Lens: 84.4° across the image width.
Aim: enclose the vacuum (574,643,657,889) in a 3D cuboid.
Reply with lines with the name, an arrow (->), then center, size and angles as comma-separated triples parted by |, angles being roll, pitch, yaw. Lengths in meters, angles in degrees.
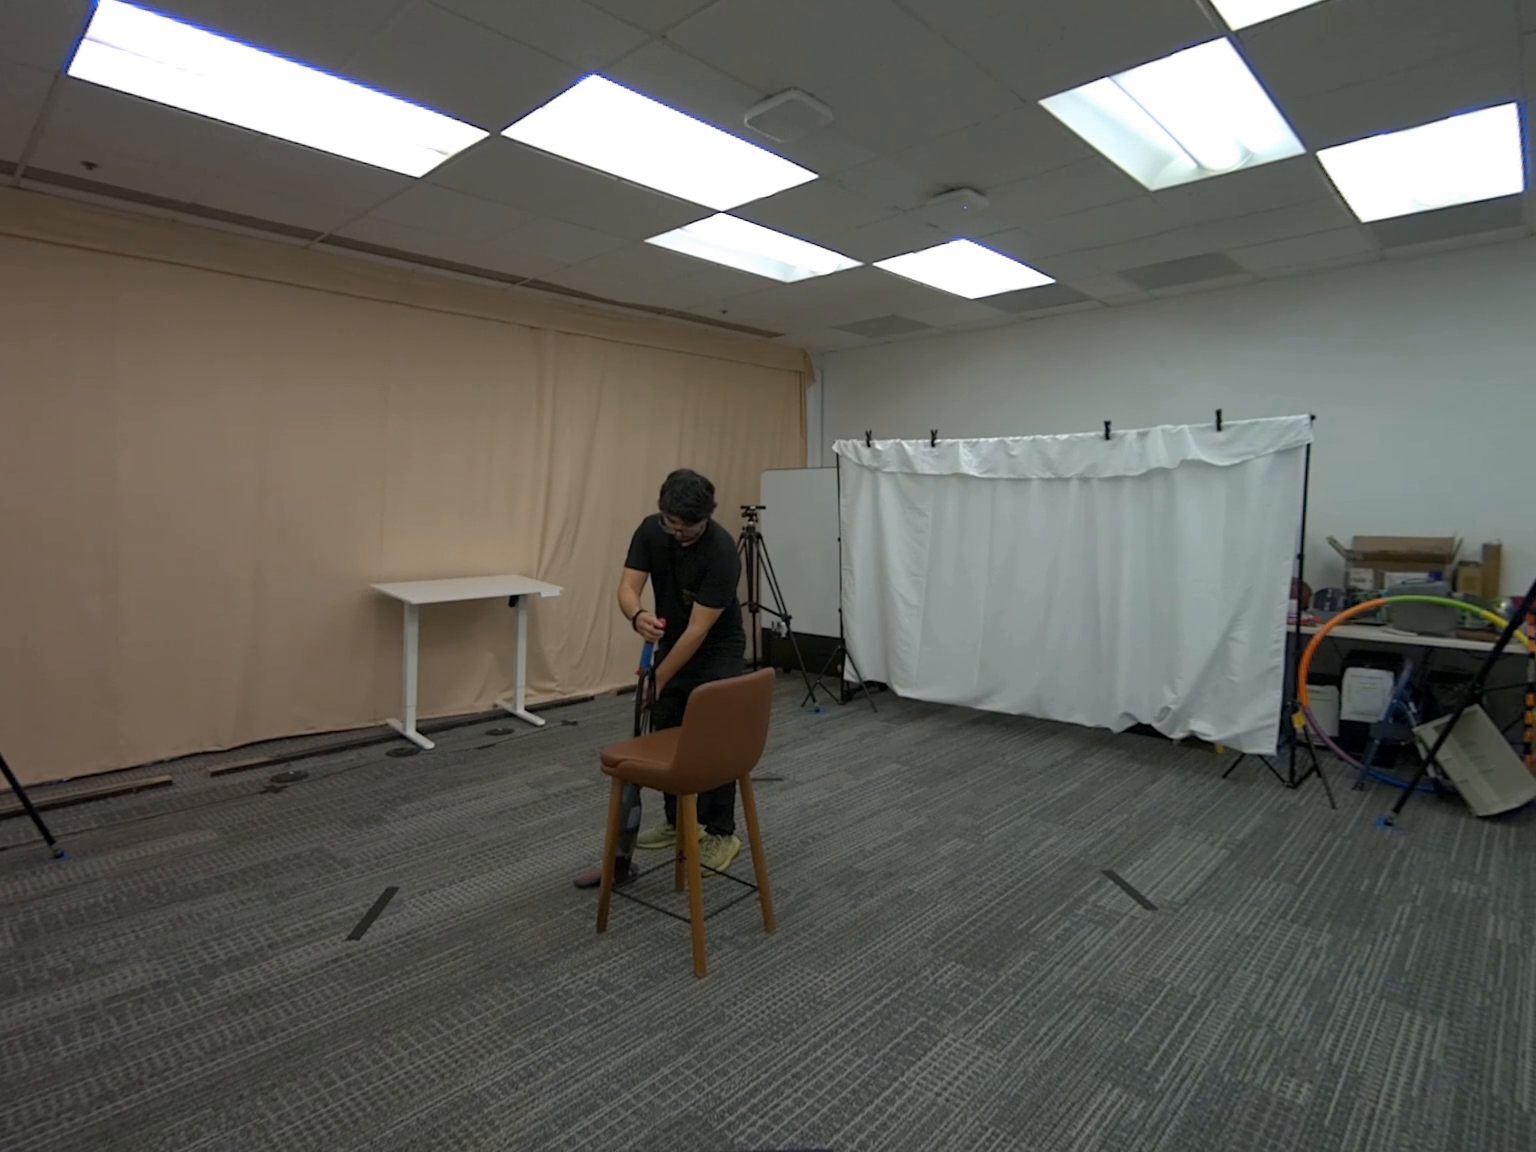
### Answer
vacuum -> -0.480, 0.650, 2.977 | 0.245, 1.043, 0.149 | 2, 19, -33
